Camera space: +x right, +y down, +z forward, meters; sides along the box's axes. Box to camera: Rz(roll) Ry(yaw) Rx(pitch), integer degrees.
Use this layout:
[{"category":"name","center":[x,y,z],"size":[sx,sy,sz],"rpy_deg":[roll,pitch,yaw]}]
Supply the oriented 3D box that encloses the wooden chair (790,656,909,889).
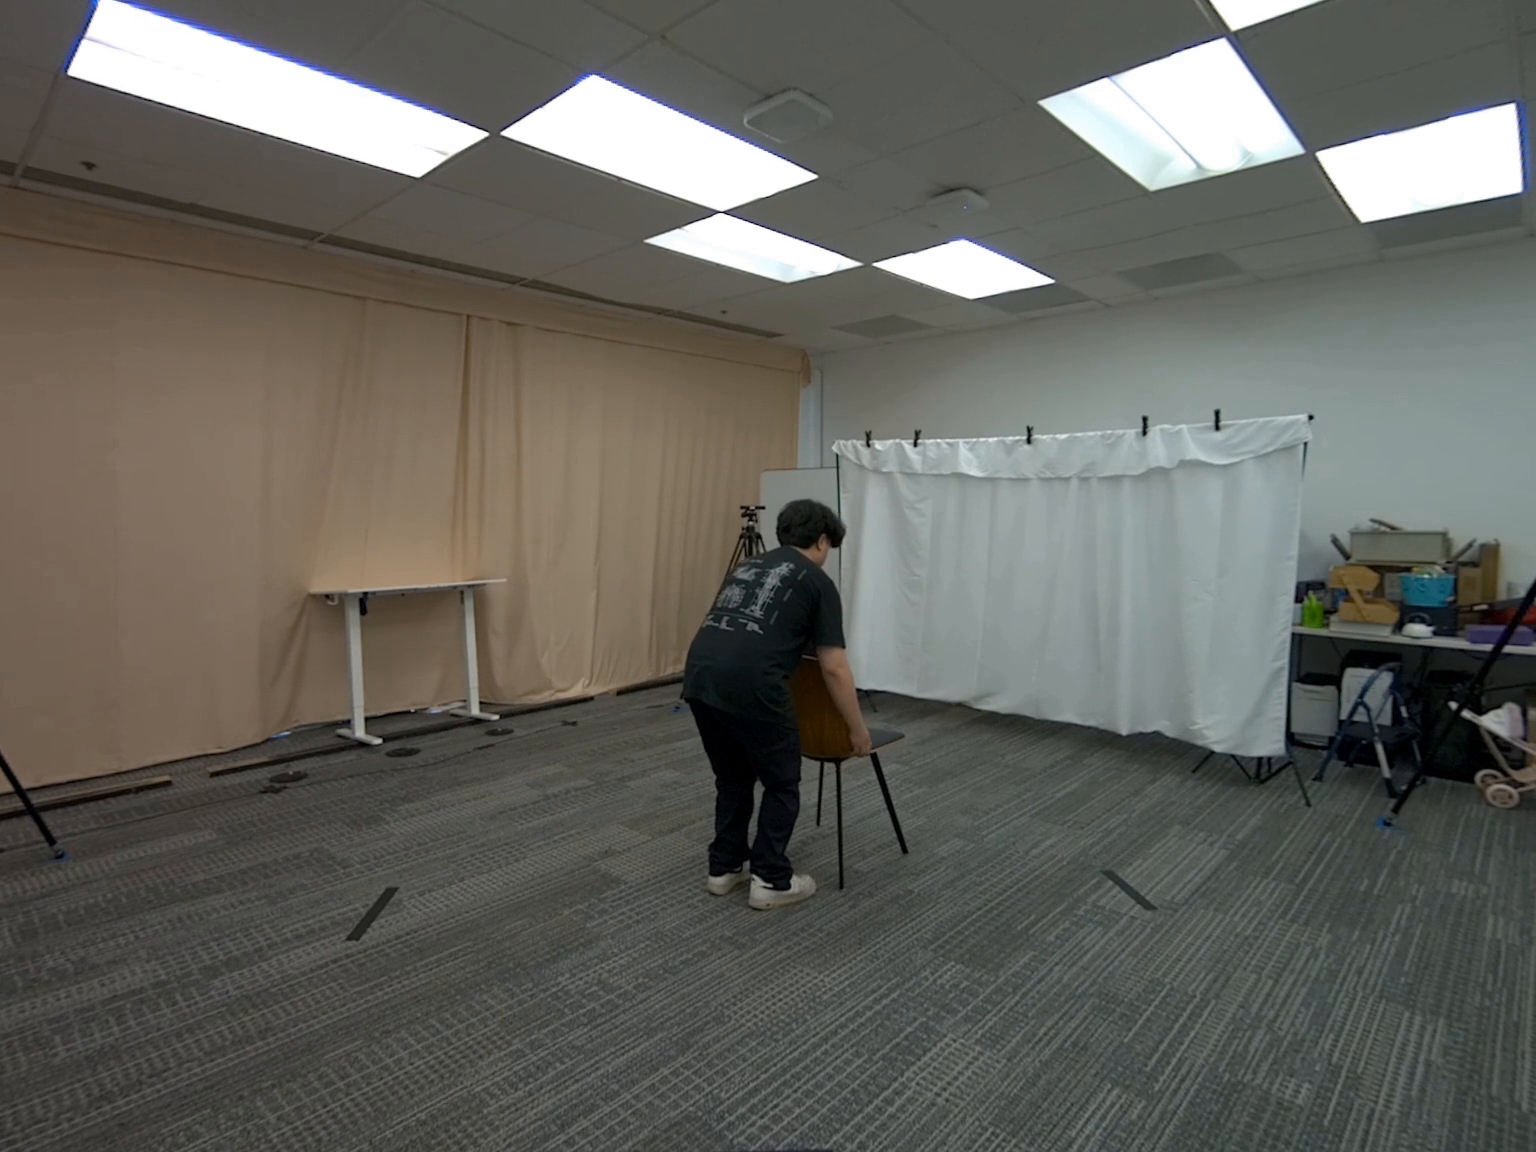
[{"category":"wooden chair","center":[0.252,0.684,3.342],"size":[0.494,0.873,0.508],"rpy_deg":[2,8,41]}]
